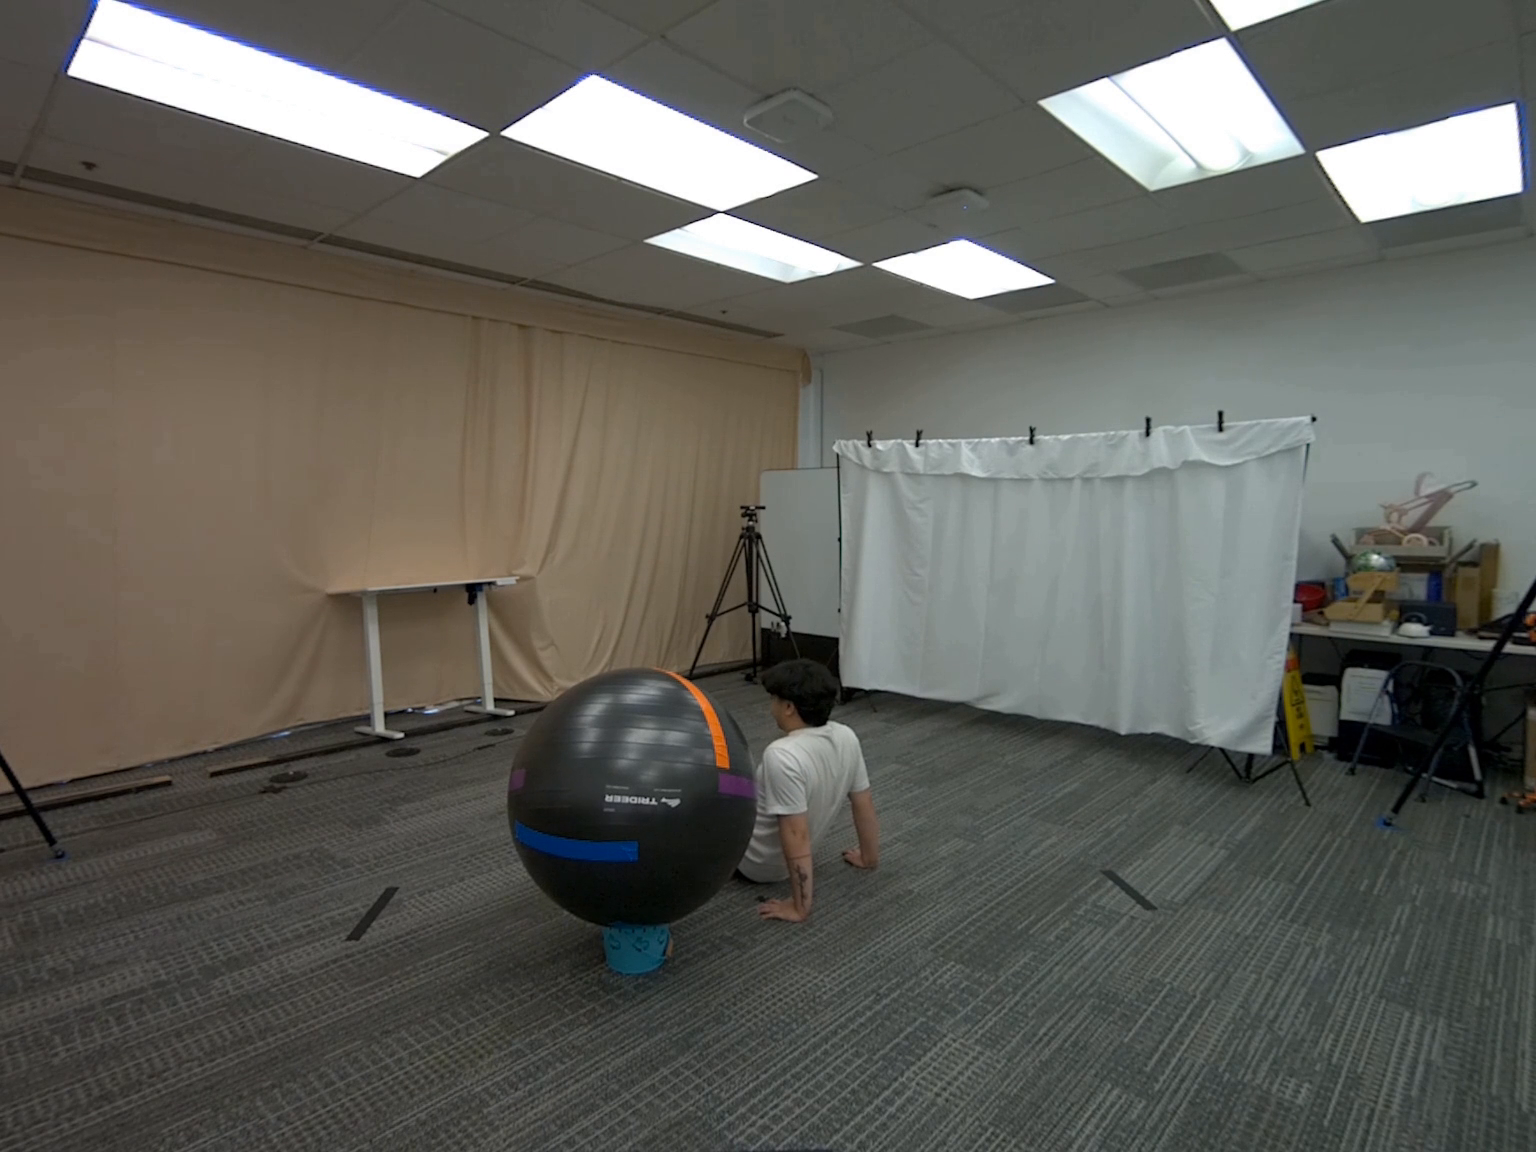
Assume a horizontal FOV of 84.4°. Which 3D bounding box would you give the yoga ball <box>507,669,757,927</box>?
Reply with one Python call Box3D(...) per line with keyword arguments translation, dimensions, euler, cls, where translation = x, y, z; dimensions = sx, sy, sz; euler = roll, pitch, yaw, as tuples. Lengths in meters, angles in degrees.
Box3D(translation=(-0.419, 0.670, 2.577), dimensions=(0.757, 0.756, 0.761), euler=(0, 4, -2), cls="yoga ball")
